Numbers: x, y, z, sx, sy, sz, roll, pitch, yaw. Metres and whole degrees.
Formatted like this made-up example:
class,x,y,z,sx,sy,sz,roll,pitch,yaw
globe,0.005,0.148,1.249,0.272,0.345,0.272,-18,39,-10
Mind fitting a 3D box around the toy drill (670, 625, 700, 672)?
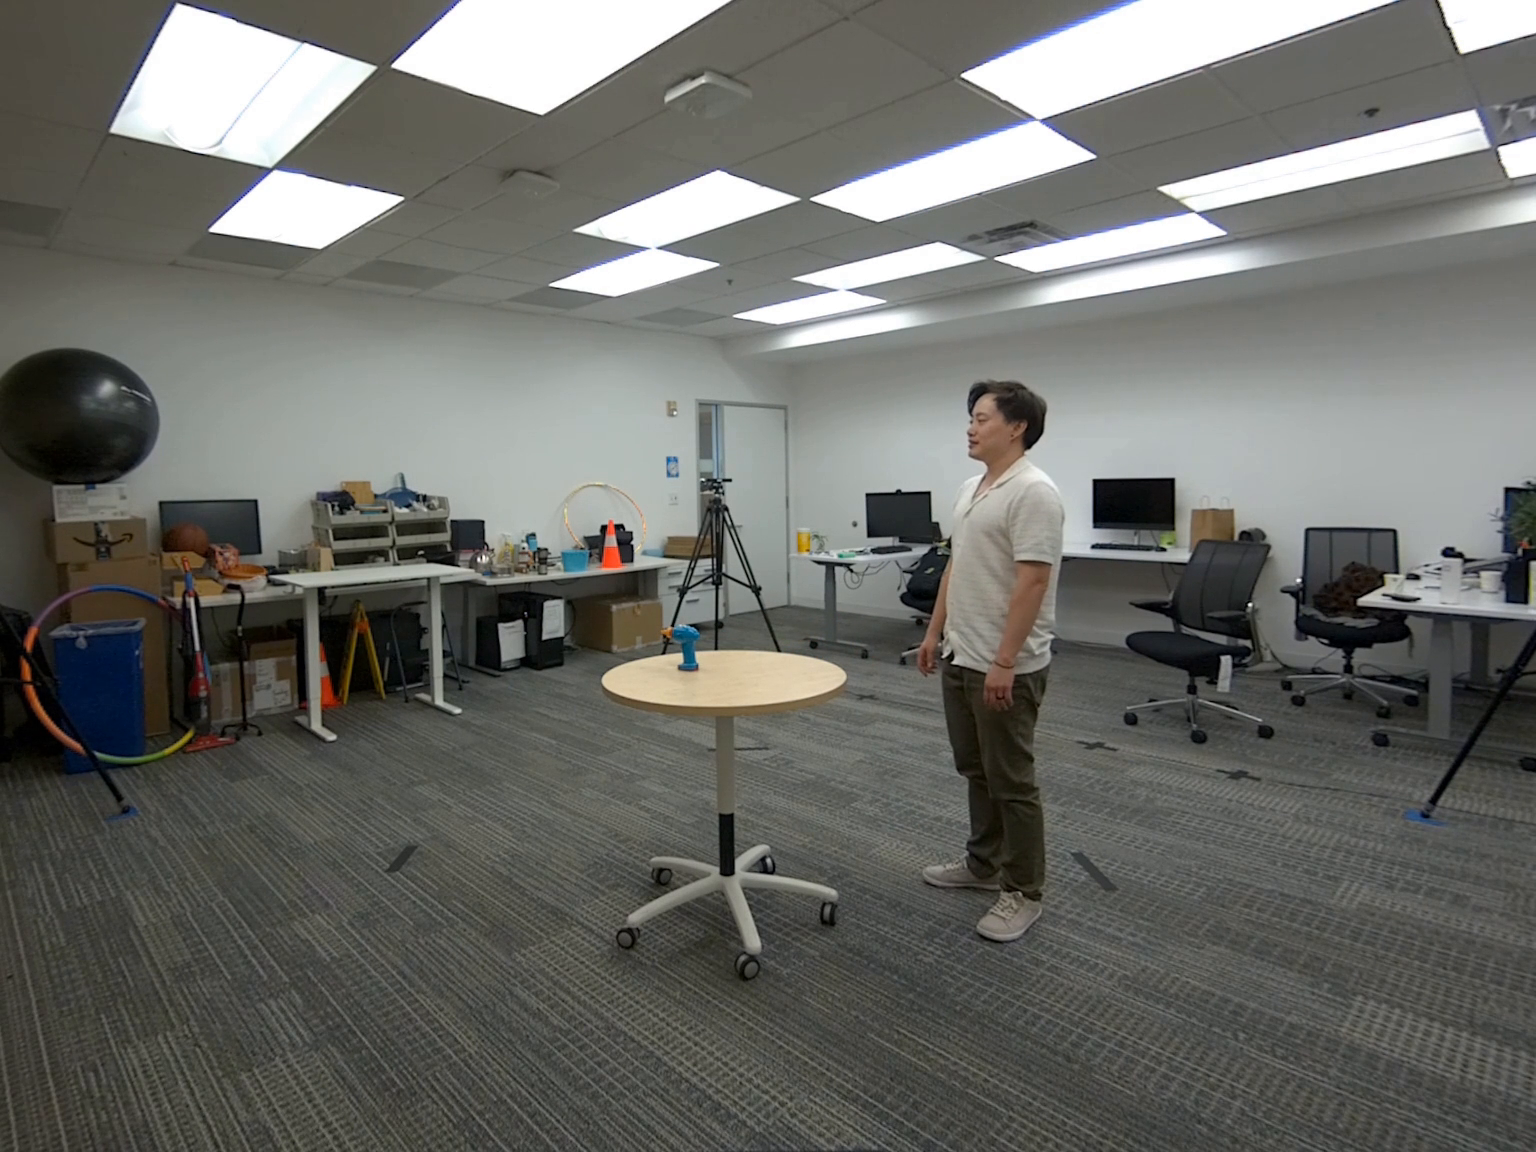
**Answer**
class,x,y,z,sx,sy,sz,roll,pitch,yaw
toy drill,-0.283,0.229,2.794,0.175,0.146,0.059,2,3,38
